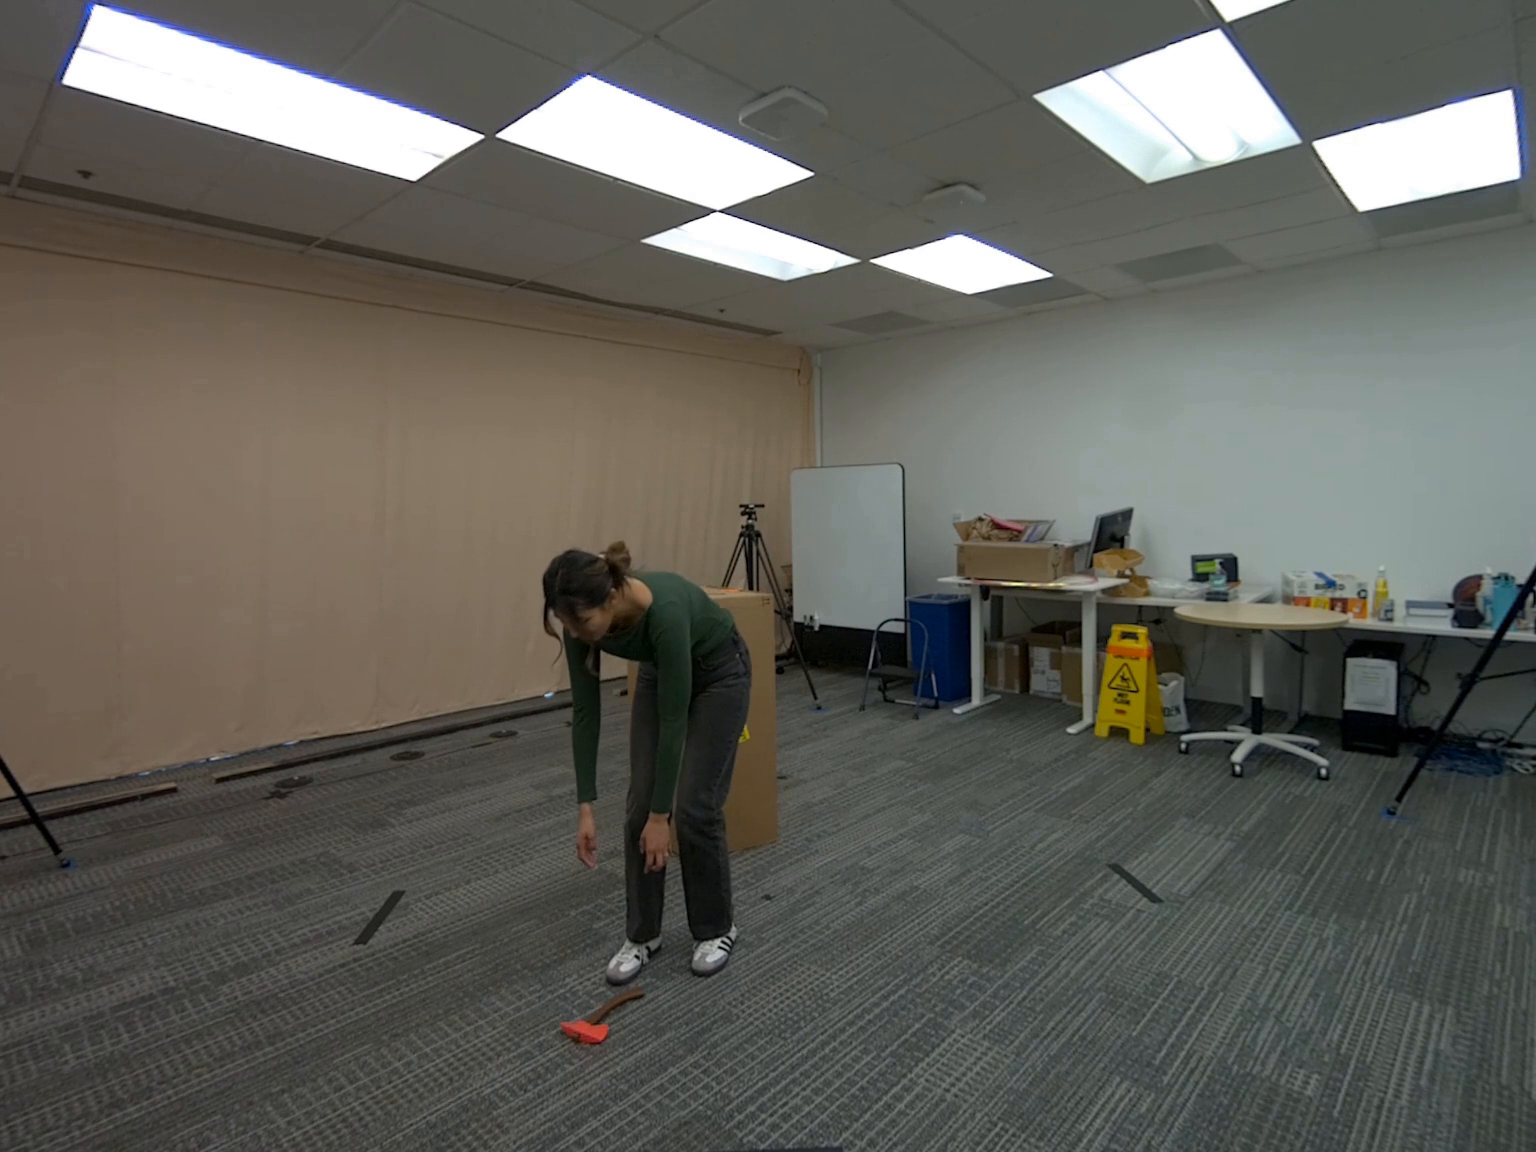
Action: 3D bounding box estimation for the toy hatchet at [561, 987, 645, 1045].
[{"bbox_3d":[-0.420,1.190,2.289,0.135,0.029,0.262,3,5,44],"label":"toy hatchet"}]
